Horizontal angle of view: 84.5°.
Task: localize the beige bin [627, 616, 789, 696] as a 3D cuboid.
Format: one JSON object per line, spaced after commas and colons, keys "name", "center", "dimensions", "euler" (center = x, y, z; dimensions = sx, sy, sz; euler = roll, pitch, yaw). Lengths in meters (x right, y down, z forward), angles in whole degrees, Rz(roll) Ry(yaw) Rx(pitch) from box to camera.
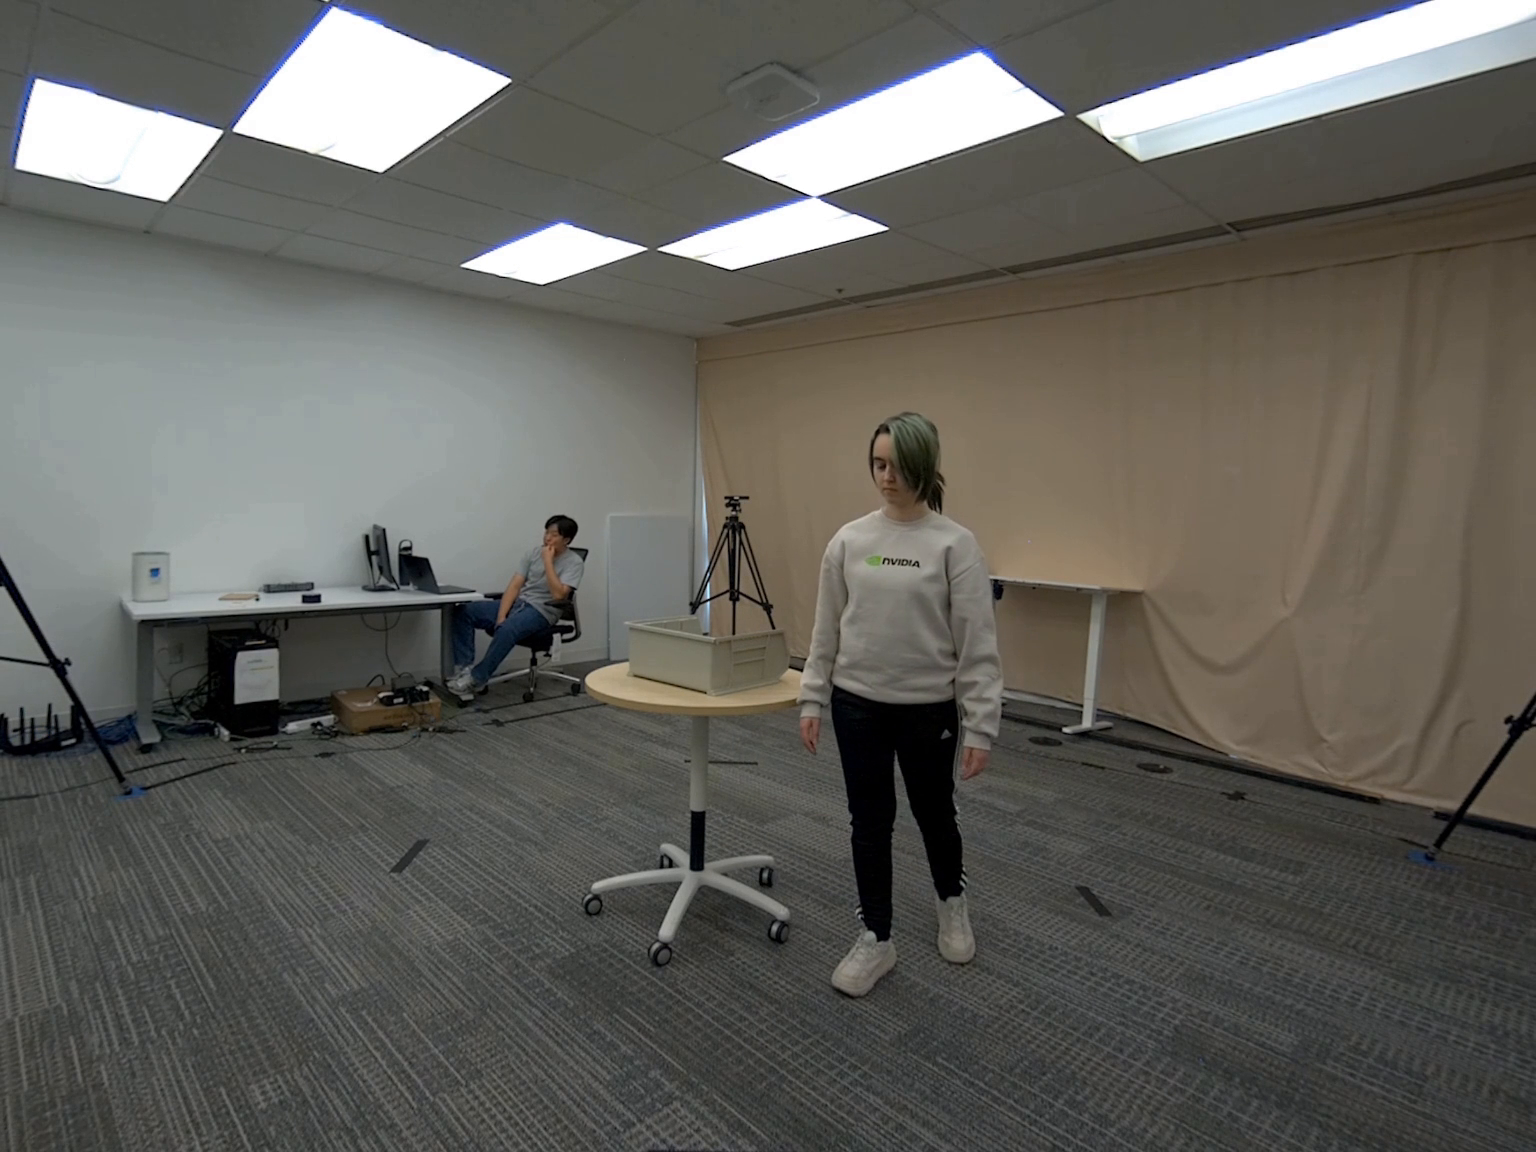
{"name": "beige bin", "center": [-0.205, 0.255, 2.817], "dimensions": [0.433, 0.188, 0.369], "euler": [6, 7, 42]}
